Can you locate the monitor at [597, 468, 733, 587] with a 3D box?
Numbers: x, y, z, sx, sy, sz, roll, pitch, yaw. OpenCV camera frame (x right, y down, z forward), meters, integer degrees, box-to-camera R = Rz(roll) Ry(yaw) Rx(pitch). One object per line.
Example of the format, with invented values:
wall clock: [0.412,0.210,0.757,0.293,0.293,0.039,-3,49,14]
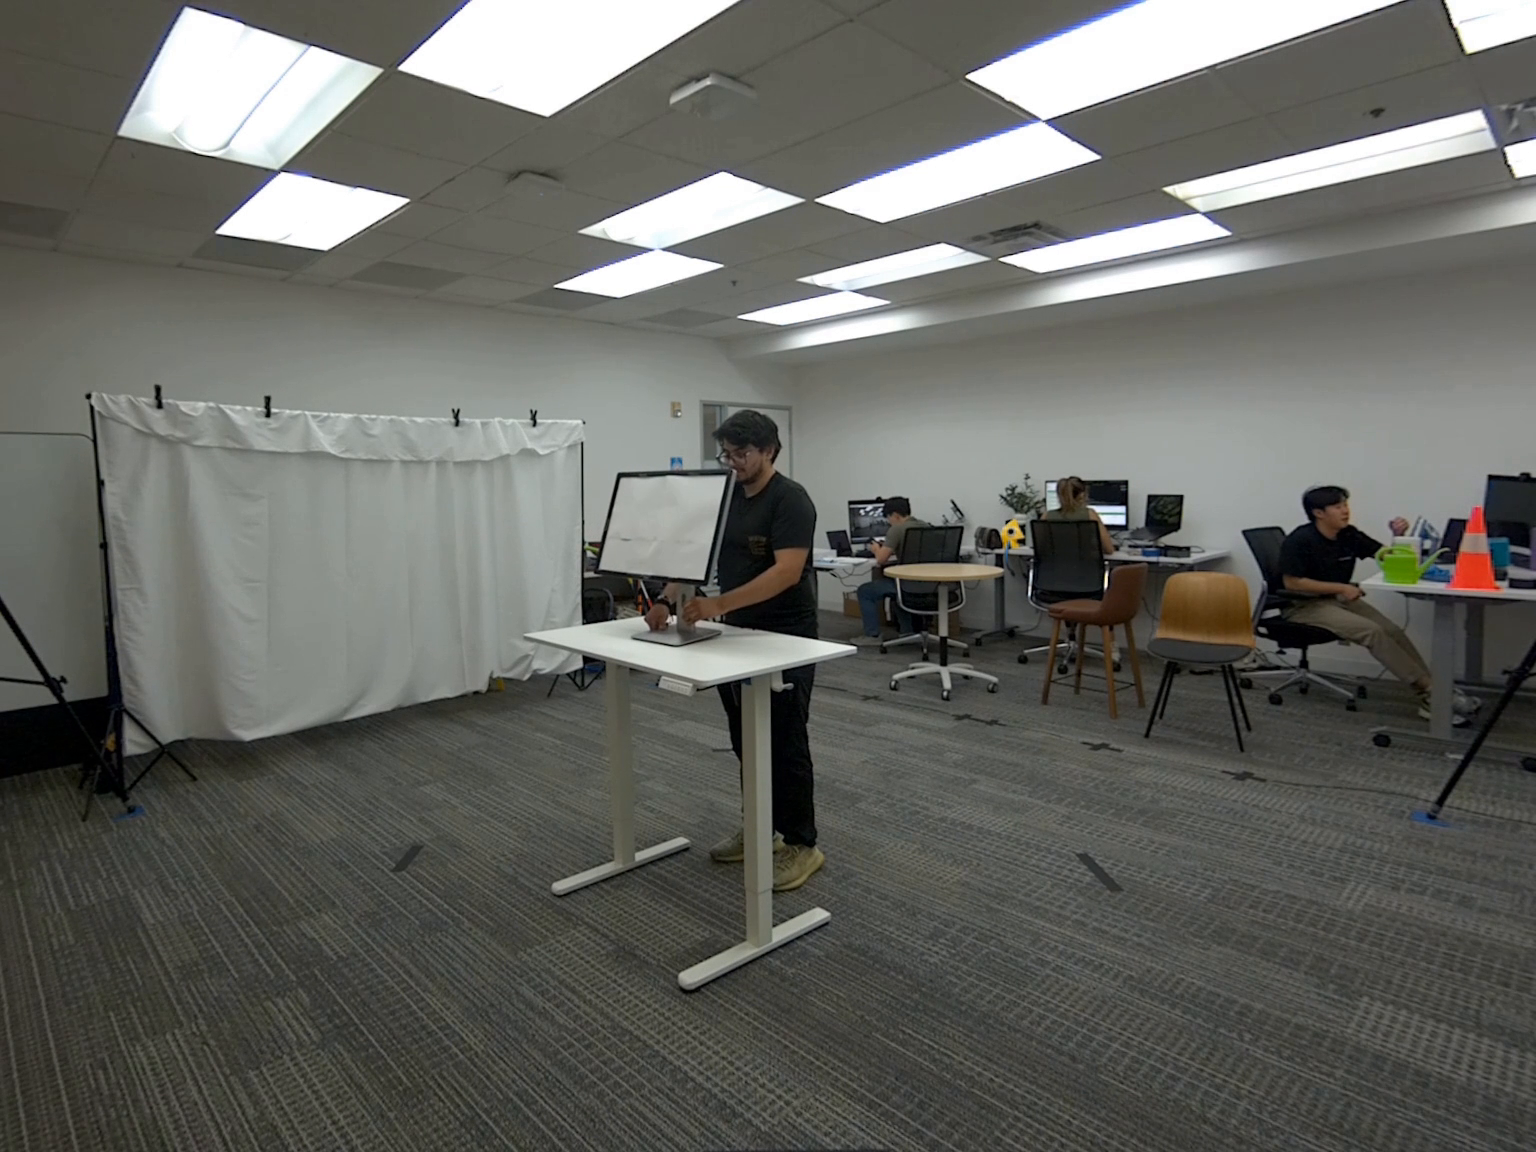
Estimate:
monitor: [-0.300,-0.068,2.791,0.582,0.555,0.203,3,-4,42]
